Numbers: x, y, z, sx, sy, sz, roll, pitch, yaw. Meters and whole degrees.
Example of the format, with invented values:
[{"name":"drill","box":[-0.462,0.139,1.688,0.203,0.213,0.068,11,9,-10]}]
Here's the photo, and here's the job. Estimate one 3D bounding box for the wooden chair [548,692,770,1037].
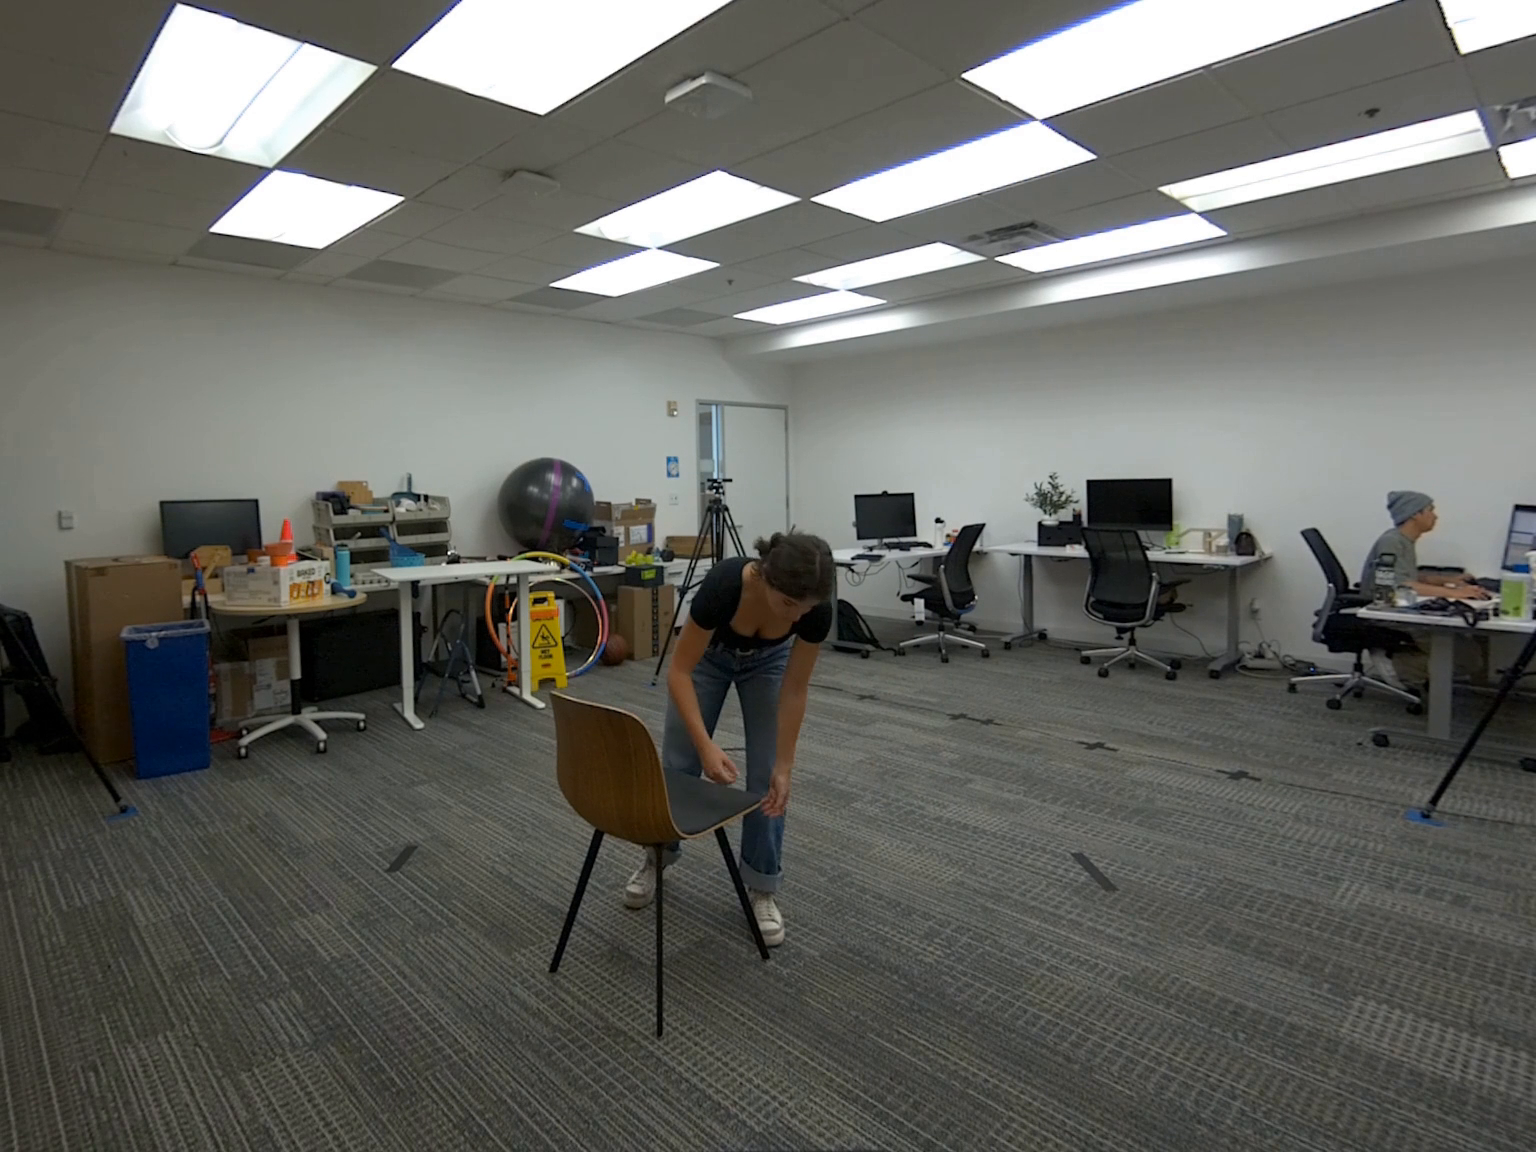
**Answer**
[{"name":"wooden chair","box":[-0.310,0.698,2.435,0.492,0.871,0.512,3,10,39]}]
